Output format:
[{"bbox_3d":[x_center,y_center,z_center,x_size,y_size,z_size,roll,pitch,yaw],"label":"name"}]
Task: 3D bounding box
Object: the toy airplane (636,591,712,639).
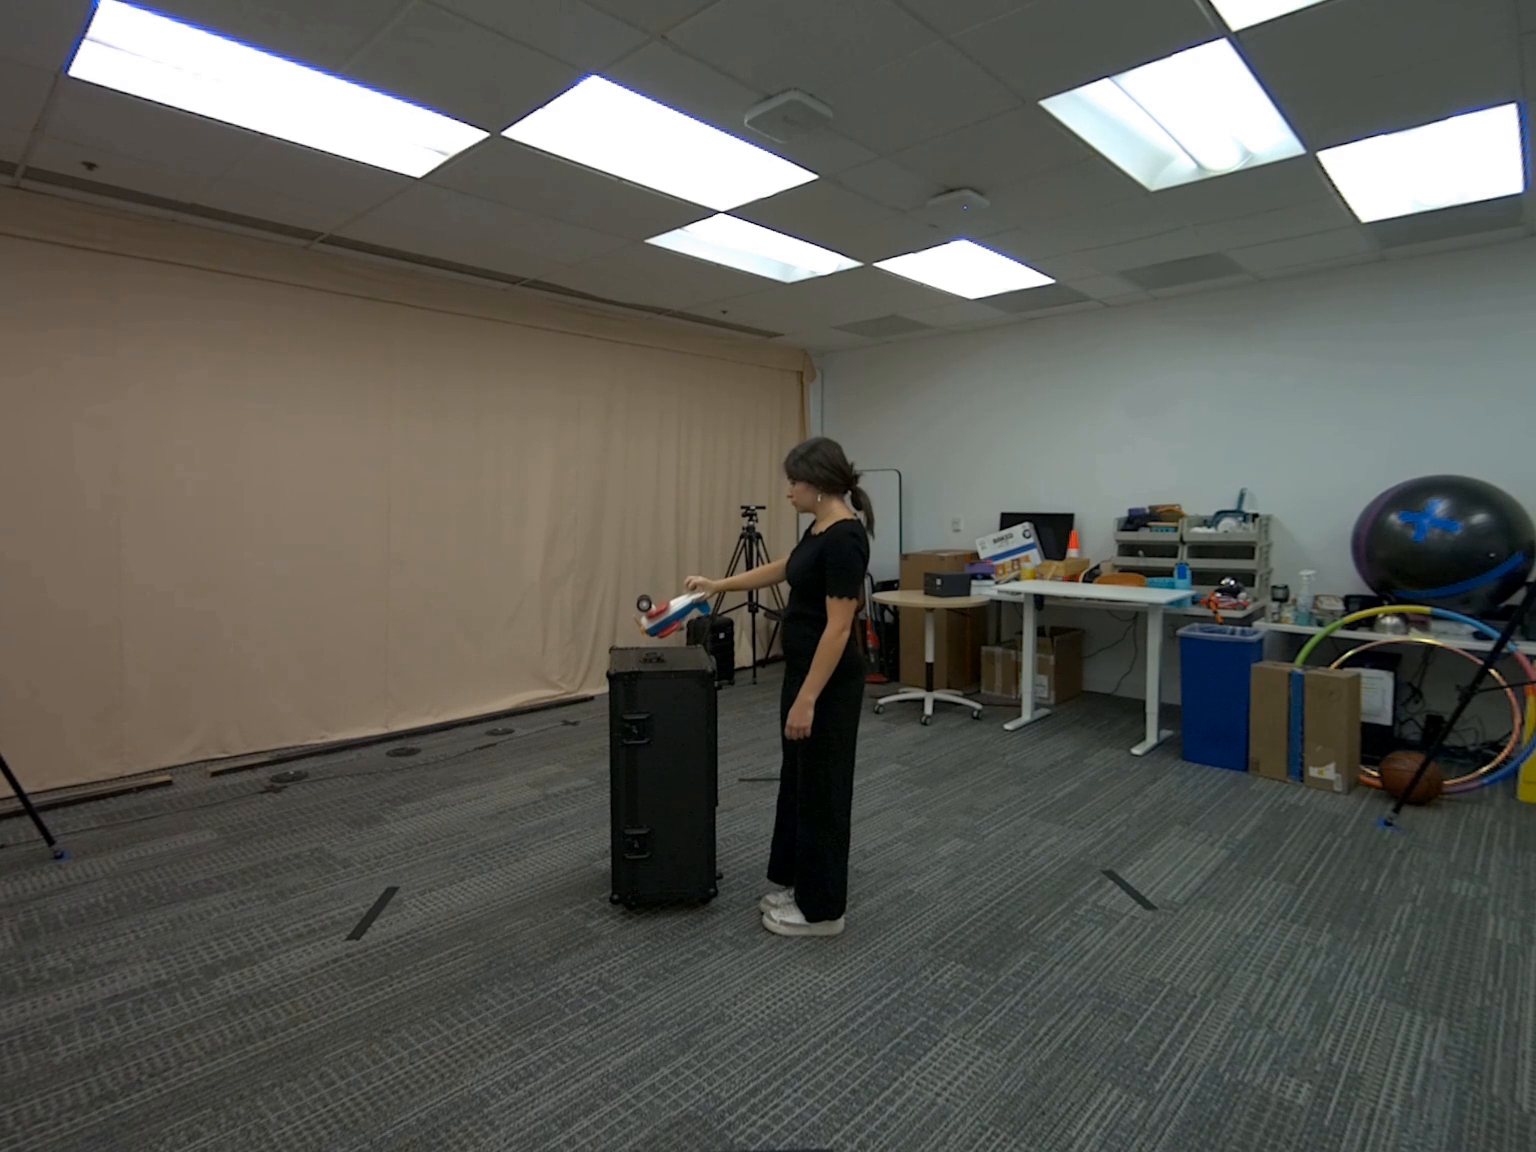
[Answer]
[{"bbox_3d":[-0.343,0.115,2.950,0.264,0.156,0.247,-13,6,23],"label":"toy airplane"}]
